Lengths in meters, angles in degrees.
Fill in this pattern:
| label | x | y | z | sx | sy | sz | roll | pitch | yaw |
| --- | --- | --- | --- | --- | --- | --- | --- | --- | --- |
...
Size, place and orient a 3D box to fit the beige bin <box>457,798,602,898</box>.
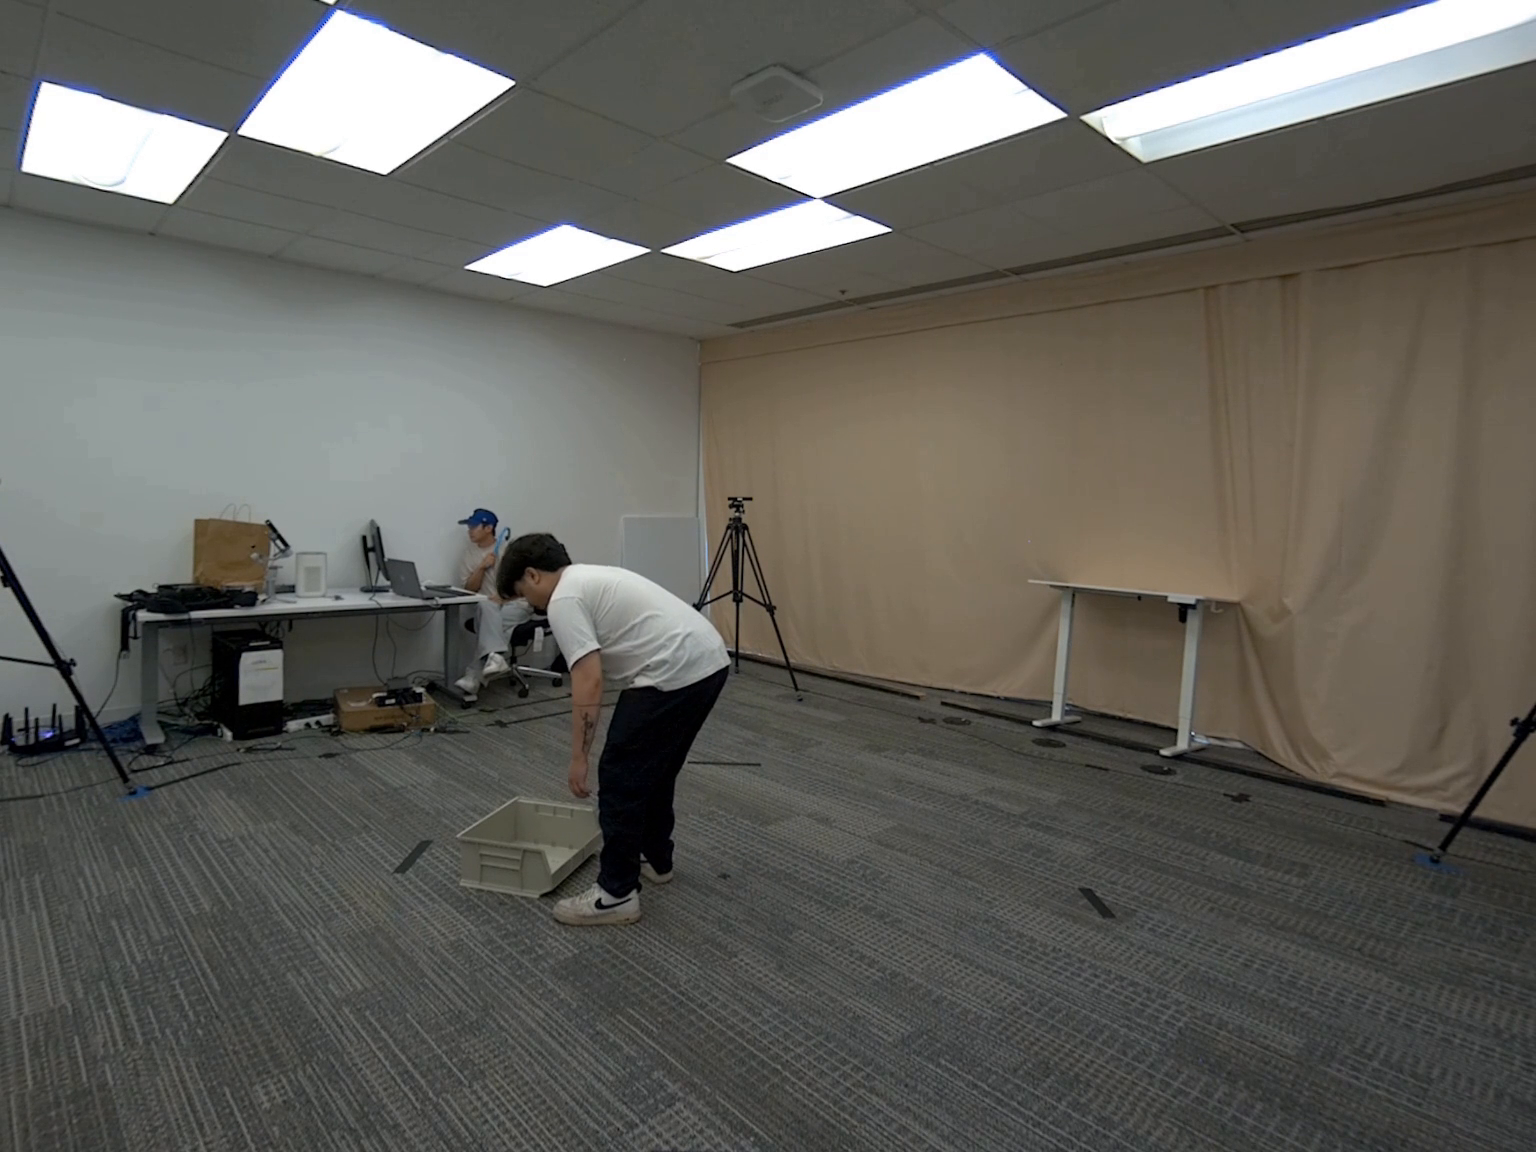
| label | x | y | z | sx | sy | sz | roll | pitch | yaw |
| --- | --- | --- | --- | --- | --- | --- | --- | --- | --- |
| beige bin | -0.877 | 1.000 | 3.125 | 0.382 | 0.188 | 0.419 | 1 | 6 | 14 |
